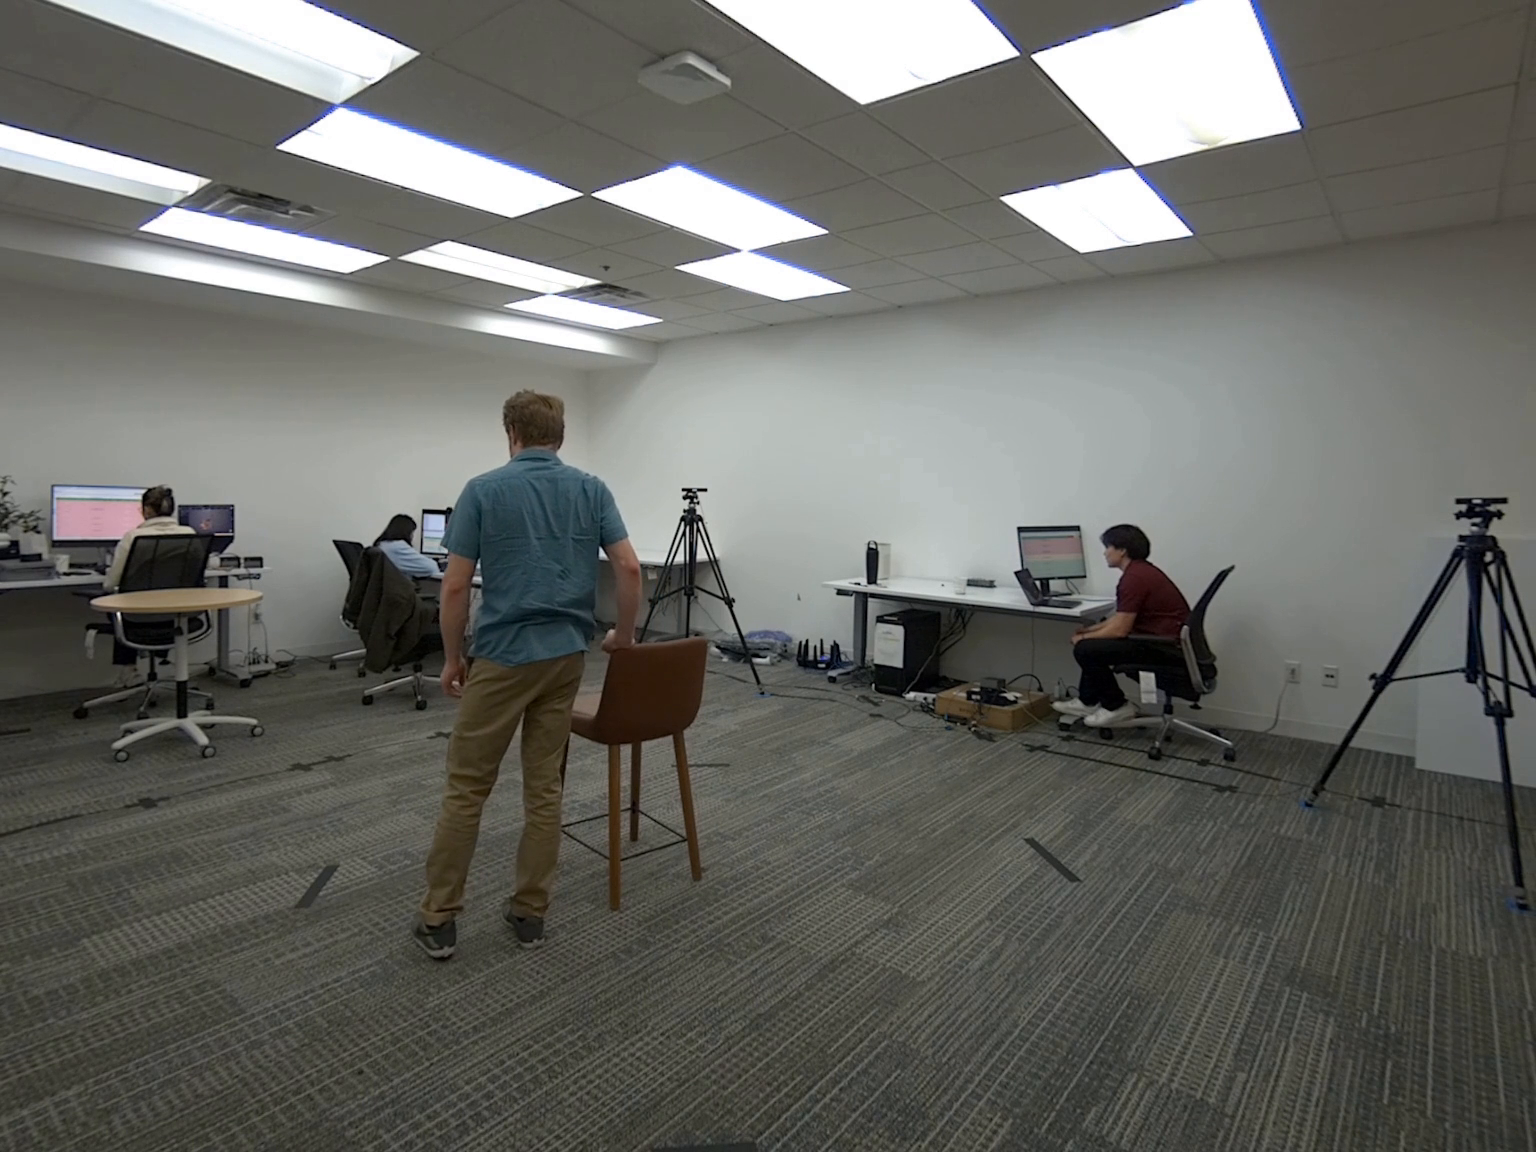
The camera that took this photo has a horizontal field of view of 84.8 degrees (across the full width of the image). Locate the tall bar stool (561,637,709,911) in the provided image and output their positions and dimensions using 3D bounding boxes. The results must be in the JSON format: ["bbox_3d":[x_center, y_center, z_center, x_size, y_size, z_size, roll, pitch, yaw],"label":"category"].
[{"bbox_3d":[-0.516,0.637,3.056,0.442,0.886,0.484,-1,6,-42],"label":"tall bar stool"}]
